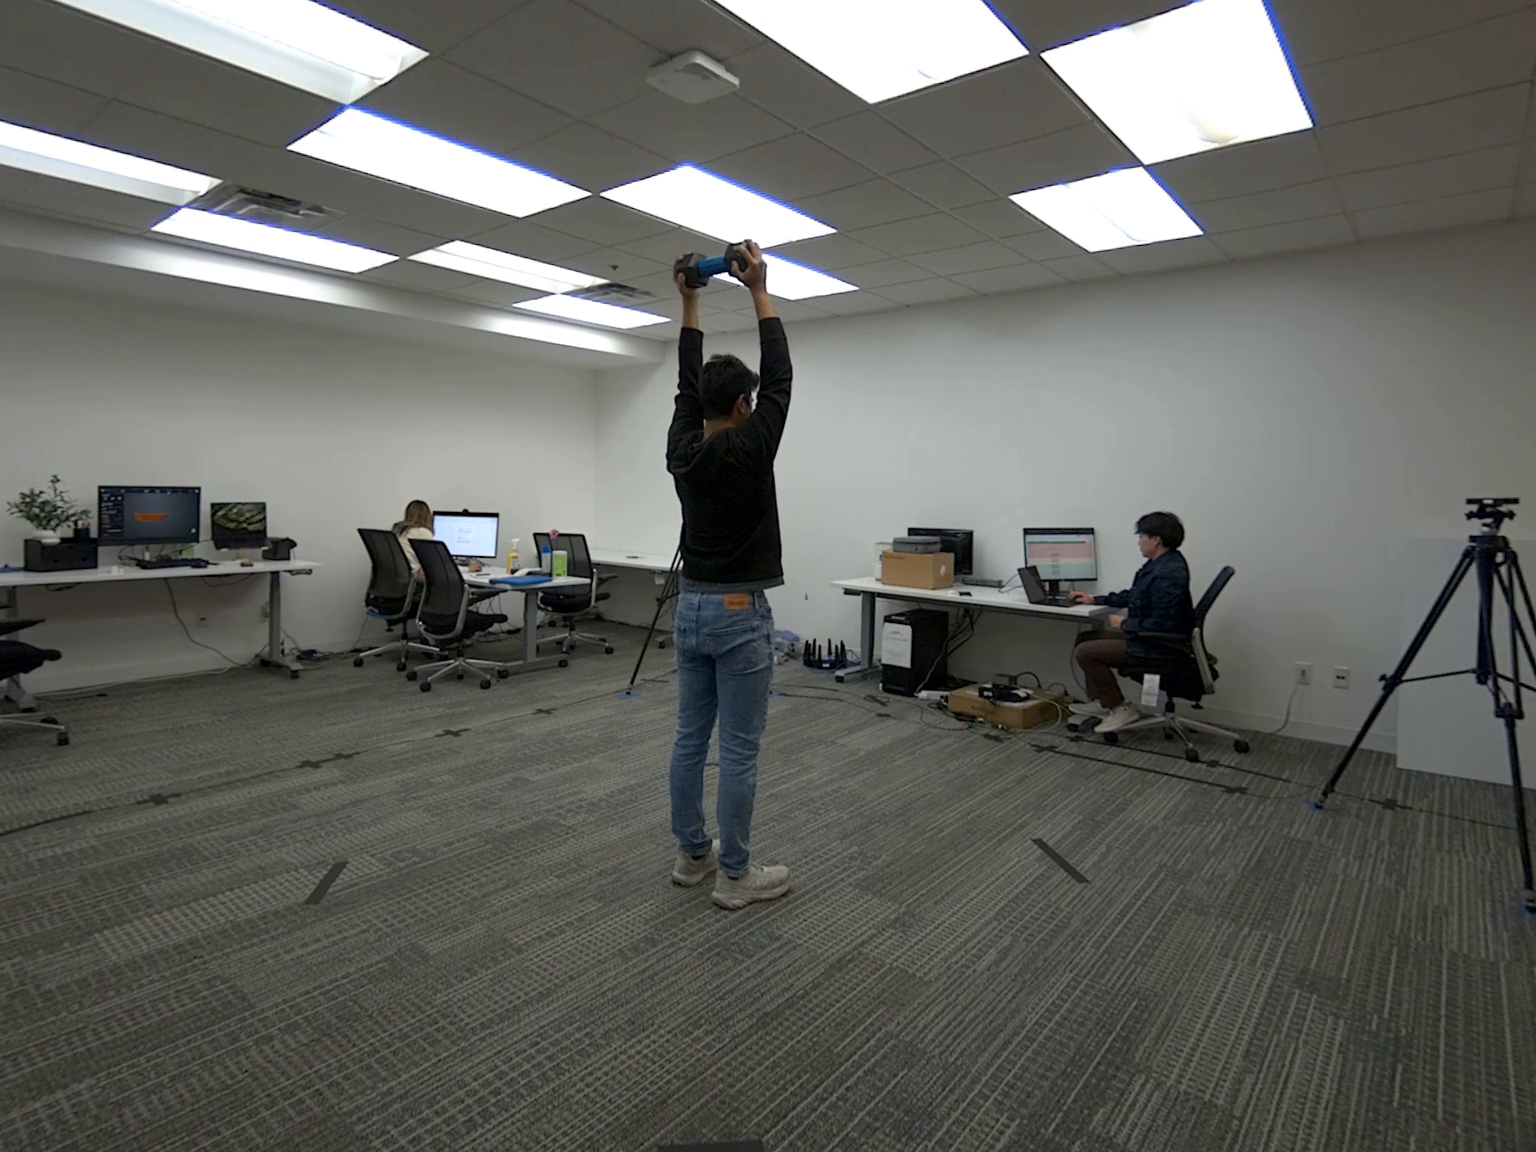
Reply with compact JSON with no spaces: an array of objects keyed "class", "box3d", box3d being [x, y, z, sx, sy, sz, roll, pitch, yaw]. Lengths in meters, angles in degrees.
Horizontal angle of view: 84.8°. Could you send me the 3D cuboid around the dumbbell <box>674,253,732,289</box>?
[{"class":"dumbbell","box3d":[-0.179,-1.053,2.880,0.303,0.108,0.119,5,9,40]}]
